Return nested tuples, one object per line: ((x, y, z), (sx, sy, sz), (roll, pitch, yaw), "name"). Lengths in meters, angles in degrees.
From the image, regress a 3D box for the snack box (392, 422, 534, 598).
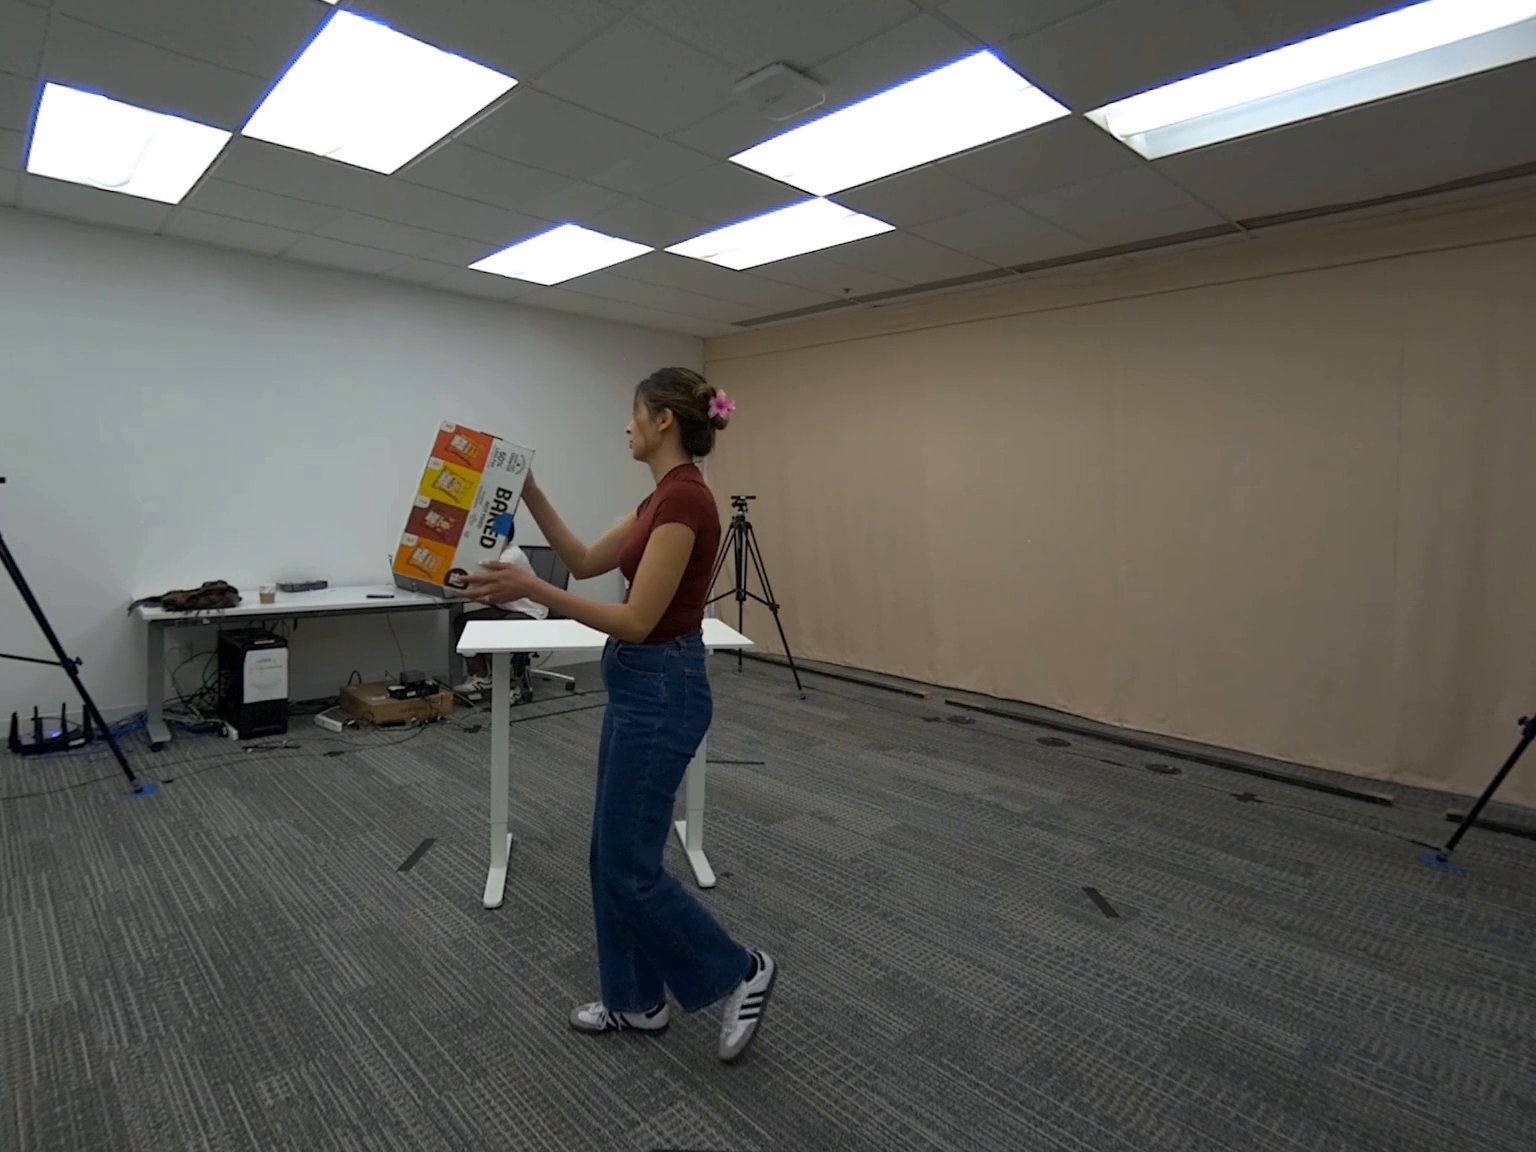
((-0.721, -0.160, 1.978), (0.201, 0.341, 0.413), (19, -3, -24), "snack box")
